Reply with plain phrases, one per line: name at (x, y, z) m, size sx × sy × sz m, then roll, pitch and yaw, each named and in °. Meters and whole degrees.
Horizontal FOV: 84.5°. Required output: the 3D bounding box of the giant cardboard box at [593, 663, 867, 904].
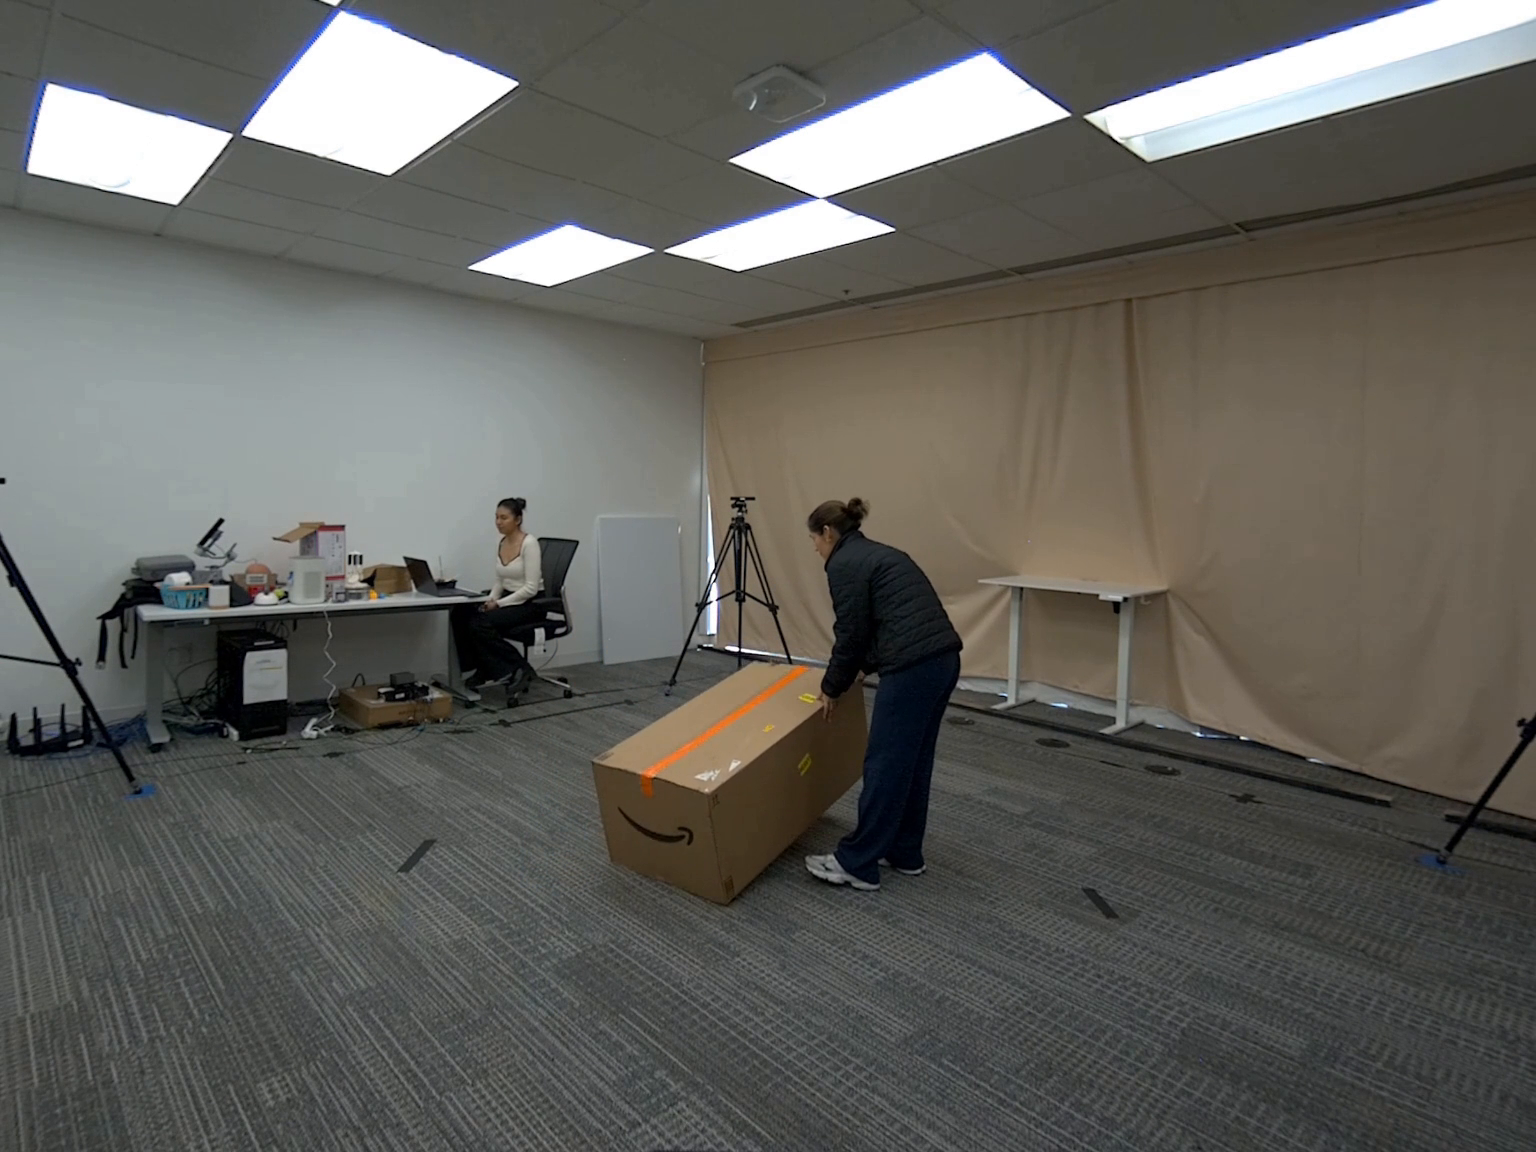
giant cardboard box at (-0.111, 0.754, 3.351) m, size 0.591 × 0.421 × 1.013 m, roll 3°, pitch 19°, yaw 37°
